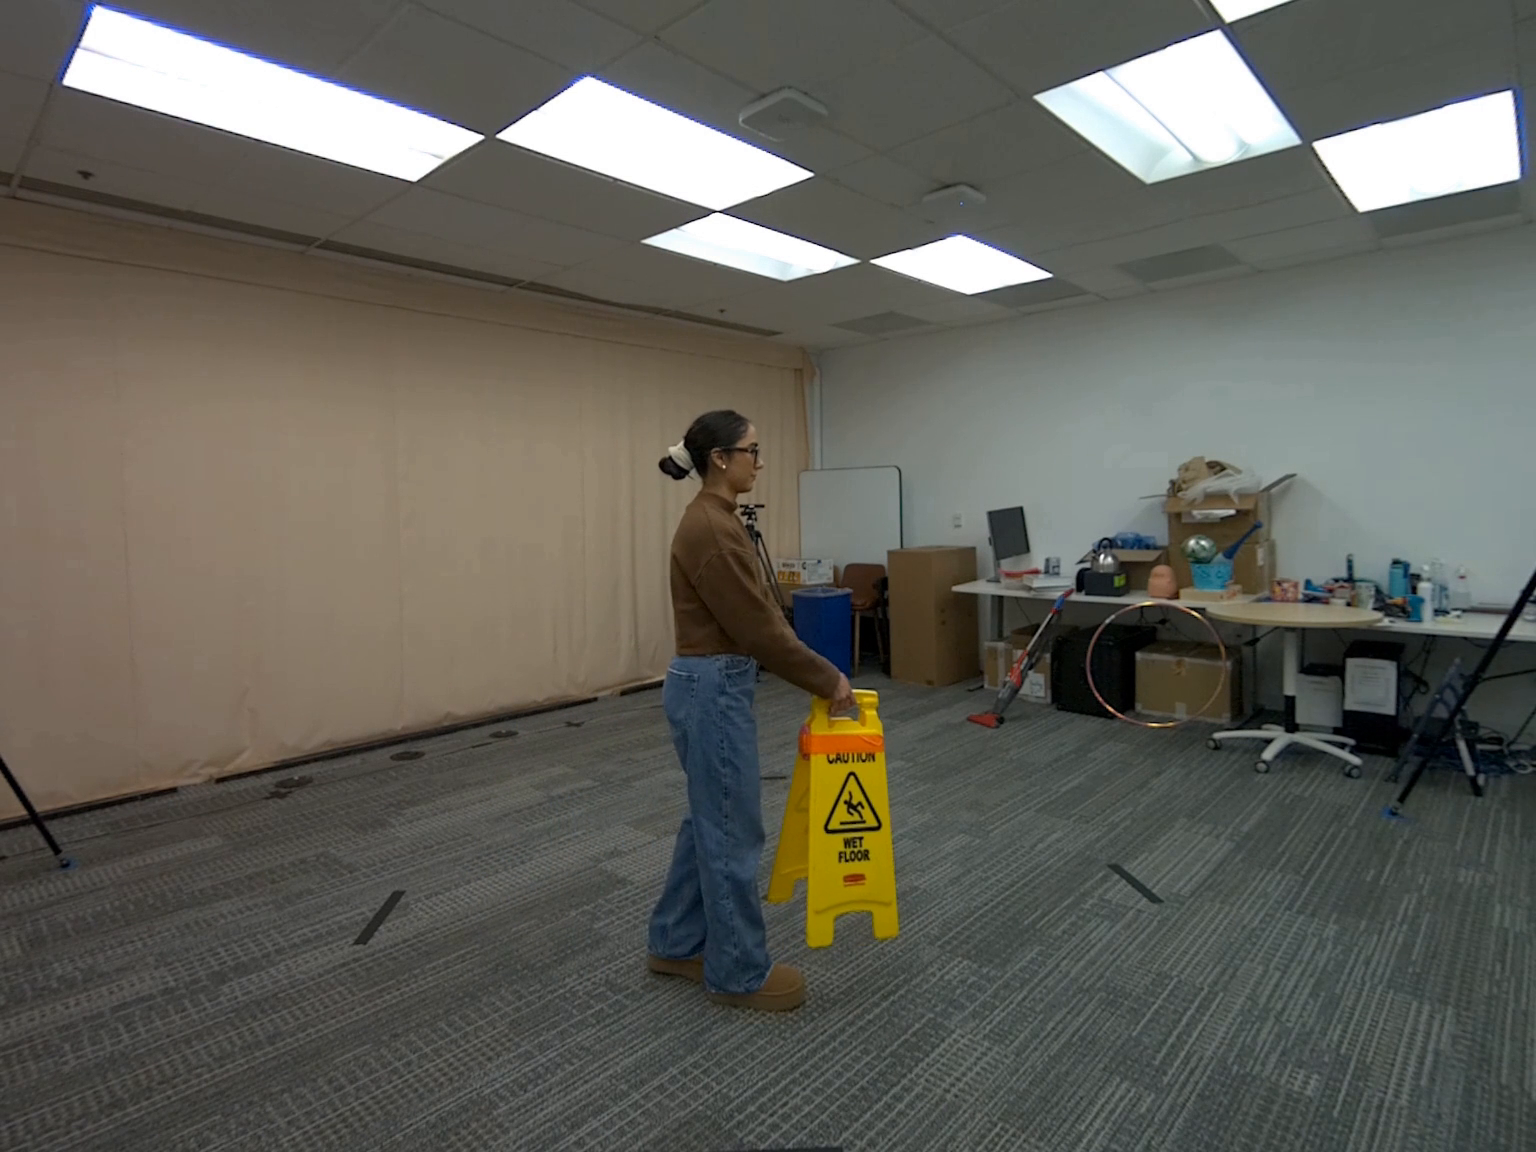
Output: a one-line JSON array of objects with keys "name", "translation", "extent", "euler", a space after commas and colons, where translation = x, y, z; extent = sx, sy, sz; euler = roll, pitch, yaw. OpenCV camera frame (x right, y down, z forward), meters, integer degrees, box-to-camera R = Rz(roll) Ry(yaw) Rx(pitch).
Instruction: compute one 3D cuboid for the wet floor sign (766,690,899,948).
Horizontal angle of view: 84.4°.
[{"name": "wet floor sign", "translation": [0.197, 0.651, 2.343], "extent": [0.276, 0.645, 0.296], "euler": [2, 2, -22]}]
